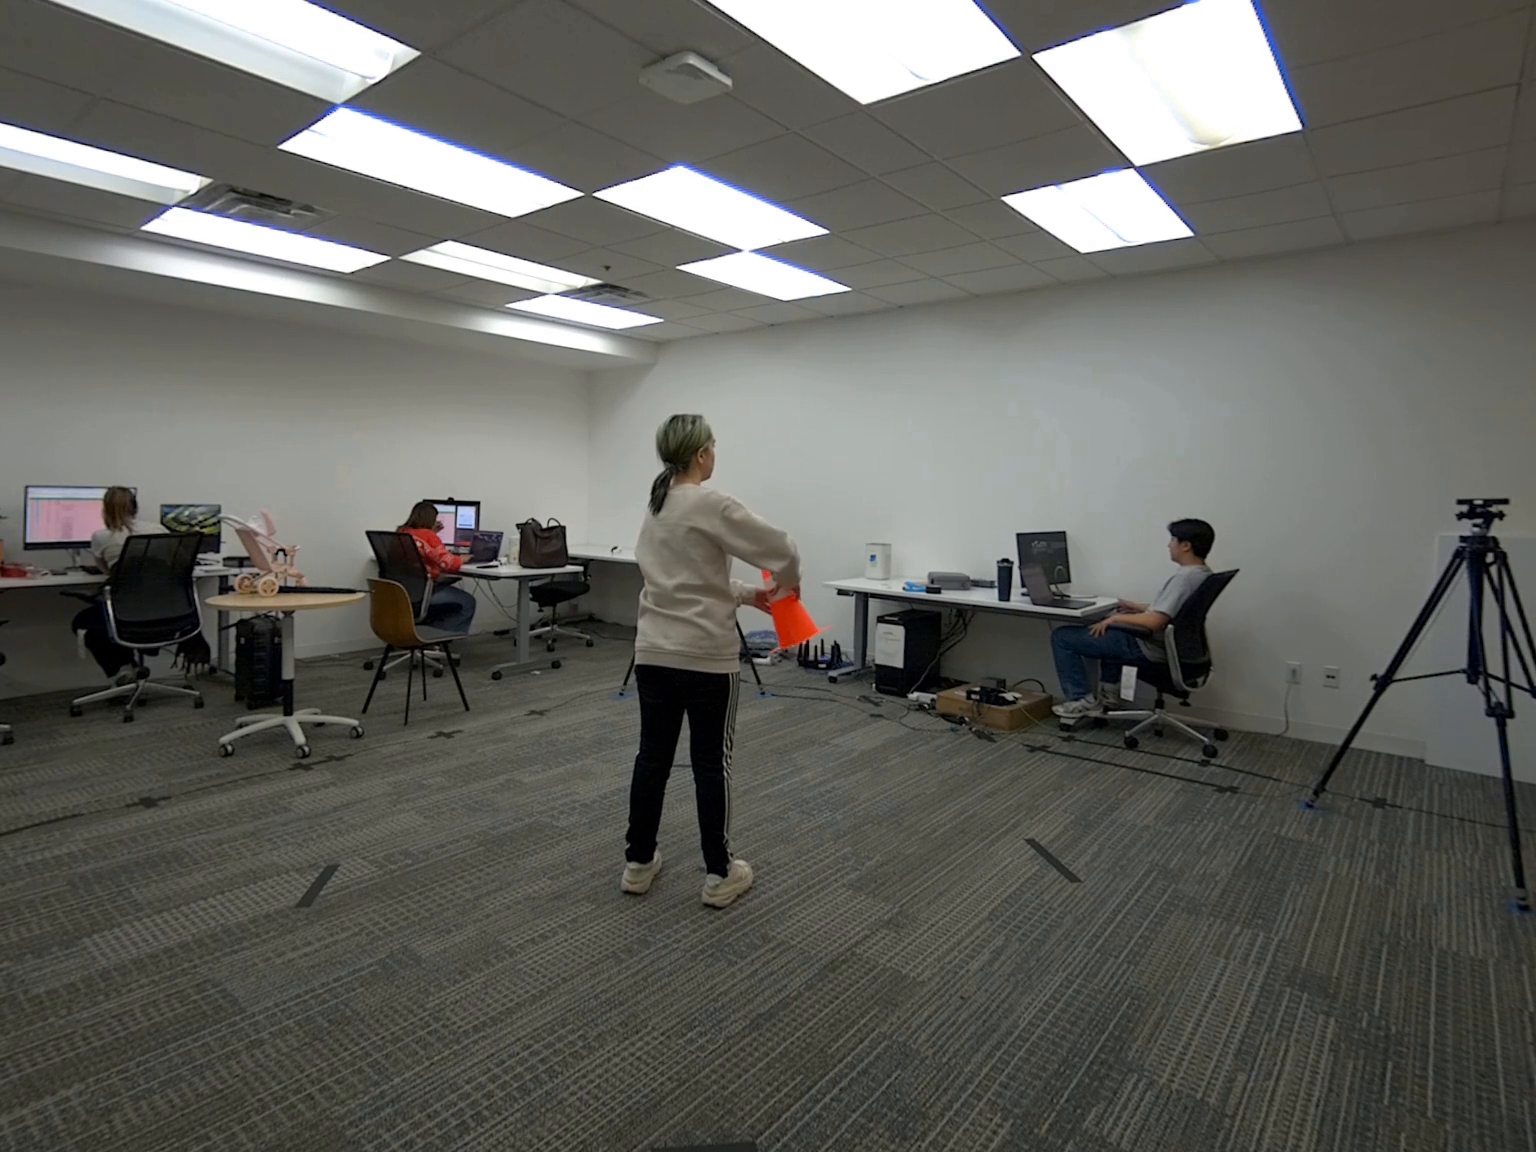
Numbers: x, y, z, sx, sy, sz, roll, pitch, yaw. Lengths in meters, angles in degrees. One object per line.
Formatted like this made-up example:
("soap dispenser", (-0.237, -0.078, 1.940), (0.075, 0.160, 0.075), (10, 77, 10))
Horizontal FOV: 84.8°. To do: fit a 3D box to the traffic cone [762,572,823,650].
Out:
("traffic cone", (0.025, 0.054, 3.152), (0.208, 0.385, 0.199), (-24, -2, 42))
